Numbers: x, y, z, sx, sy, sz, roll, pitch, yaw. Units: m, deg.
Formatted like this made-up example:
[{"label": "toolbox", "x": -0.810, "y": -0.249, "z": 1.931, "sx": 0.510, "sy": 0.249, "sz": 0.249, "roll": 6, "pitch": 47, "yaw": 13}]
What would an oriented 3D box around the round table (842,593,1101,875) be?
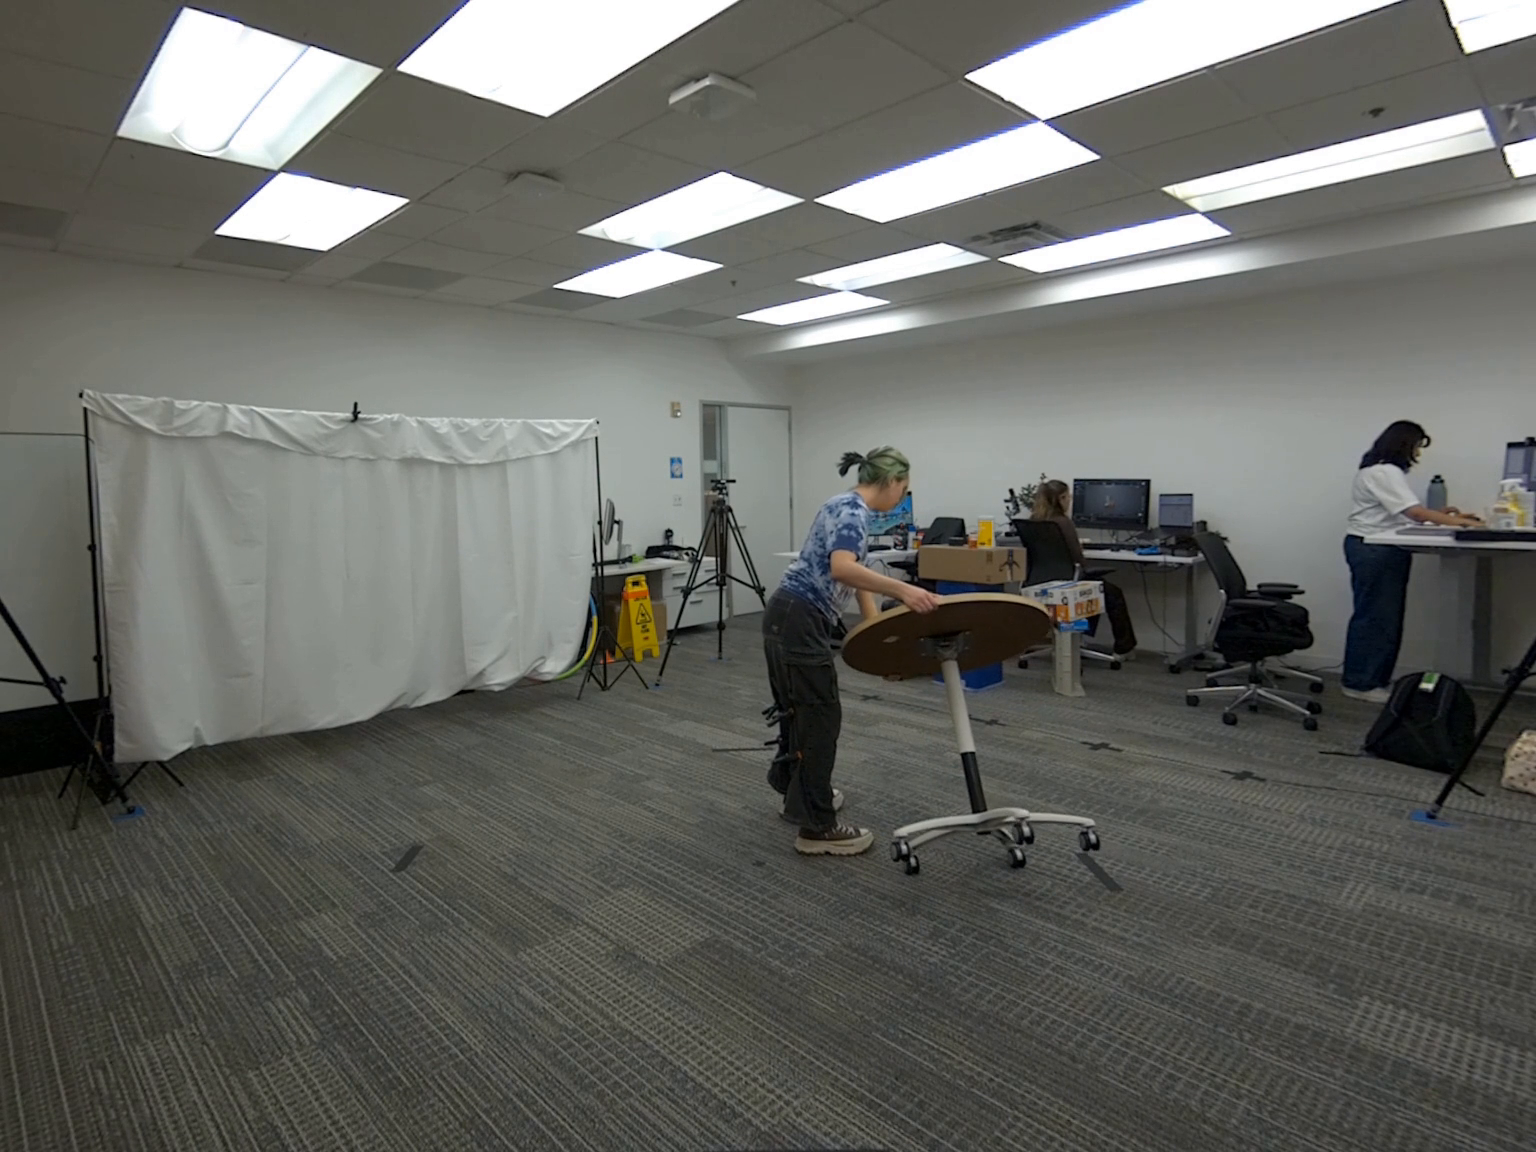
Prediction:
[{"label": "round table", "x": 0.697, "y": 0.583, "z": 2.983, "sx": 0.762, "sy": 0.813, "sz": 0.748, "roll": -4, "pitch": -26, "yaw": -4}]
